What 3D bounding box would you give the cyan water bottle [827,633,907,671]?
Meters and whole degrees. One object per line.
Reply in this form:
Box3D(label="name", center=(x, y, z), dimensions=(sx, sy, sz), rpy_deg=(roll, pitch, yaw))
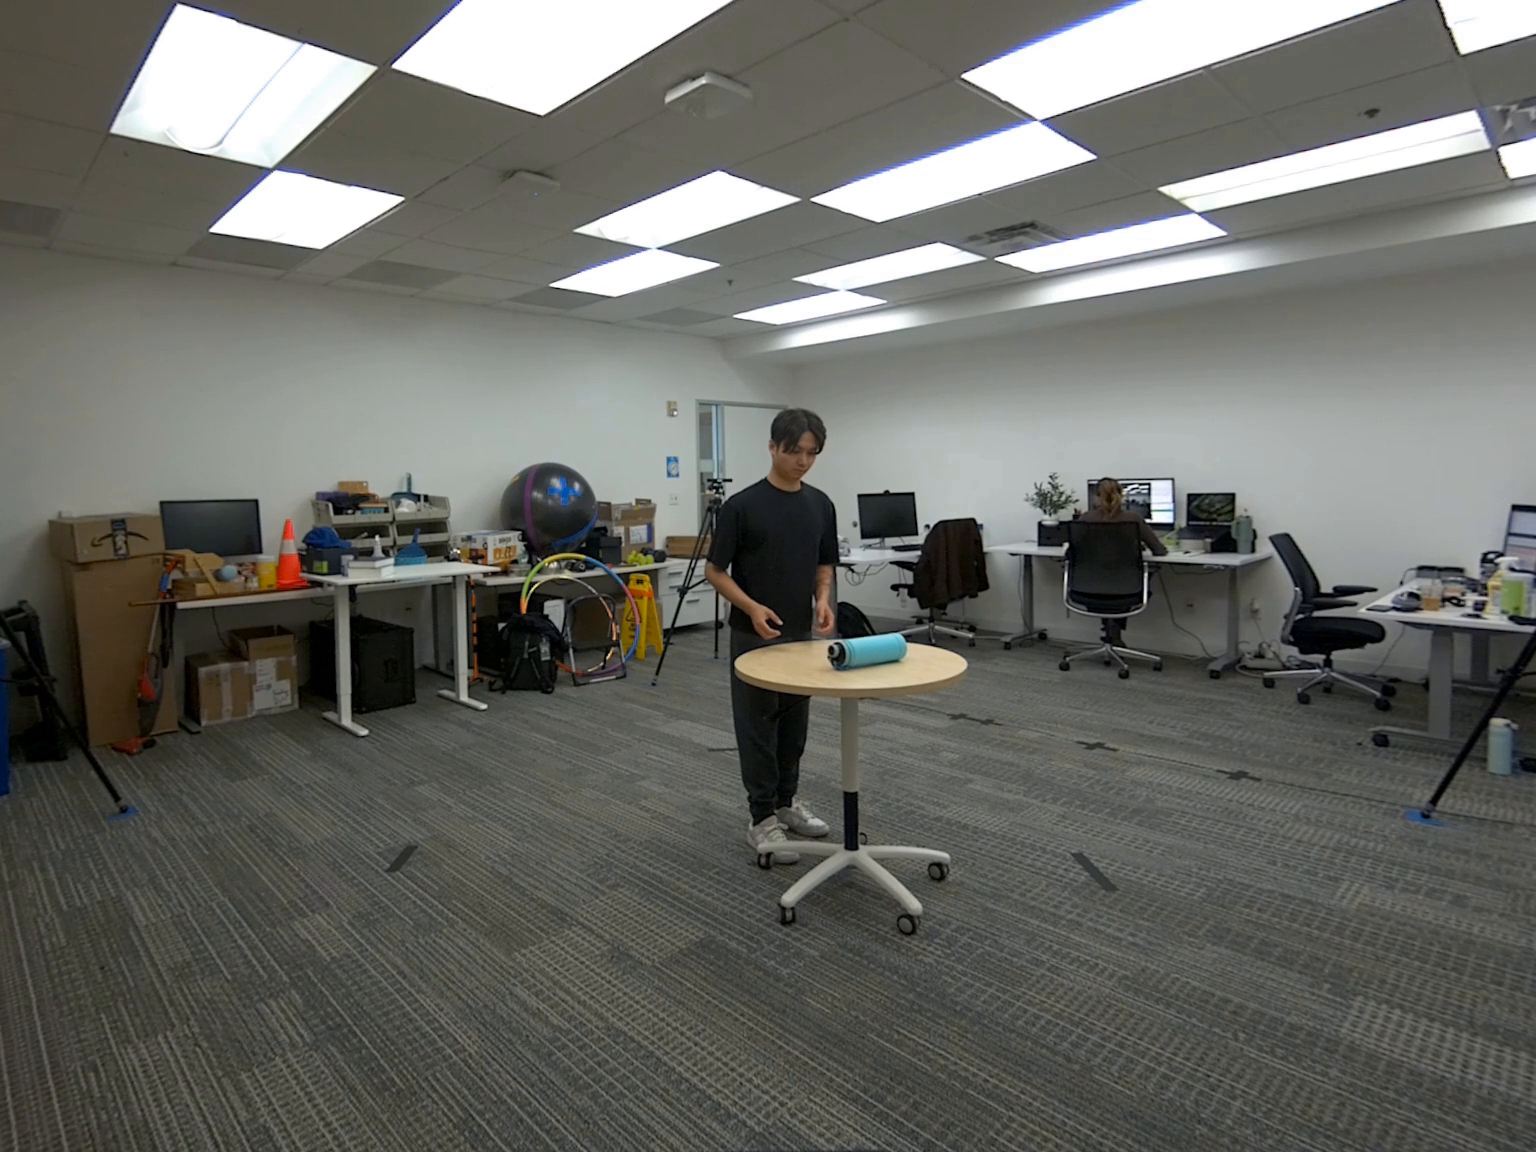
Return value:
Box3D(label="cyan water bottle", center=(0.311, 0.243, 2.781), dimensions=(0.277, 0.092, 0.095), rpy_deg=(-5, 6, -29))
